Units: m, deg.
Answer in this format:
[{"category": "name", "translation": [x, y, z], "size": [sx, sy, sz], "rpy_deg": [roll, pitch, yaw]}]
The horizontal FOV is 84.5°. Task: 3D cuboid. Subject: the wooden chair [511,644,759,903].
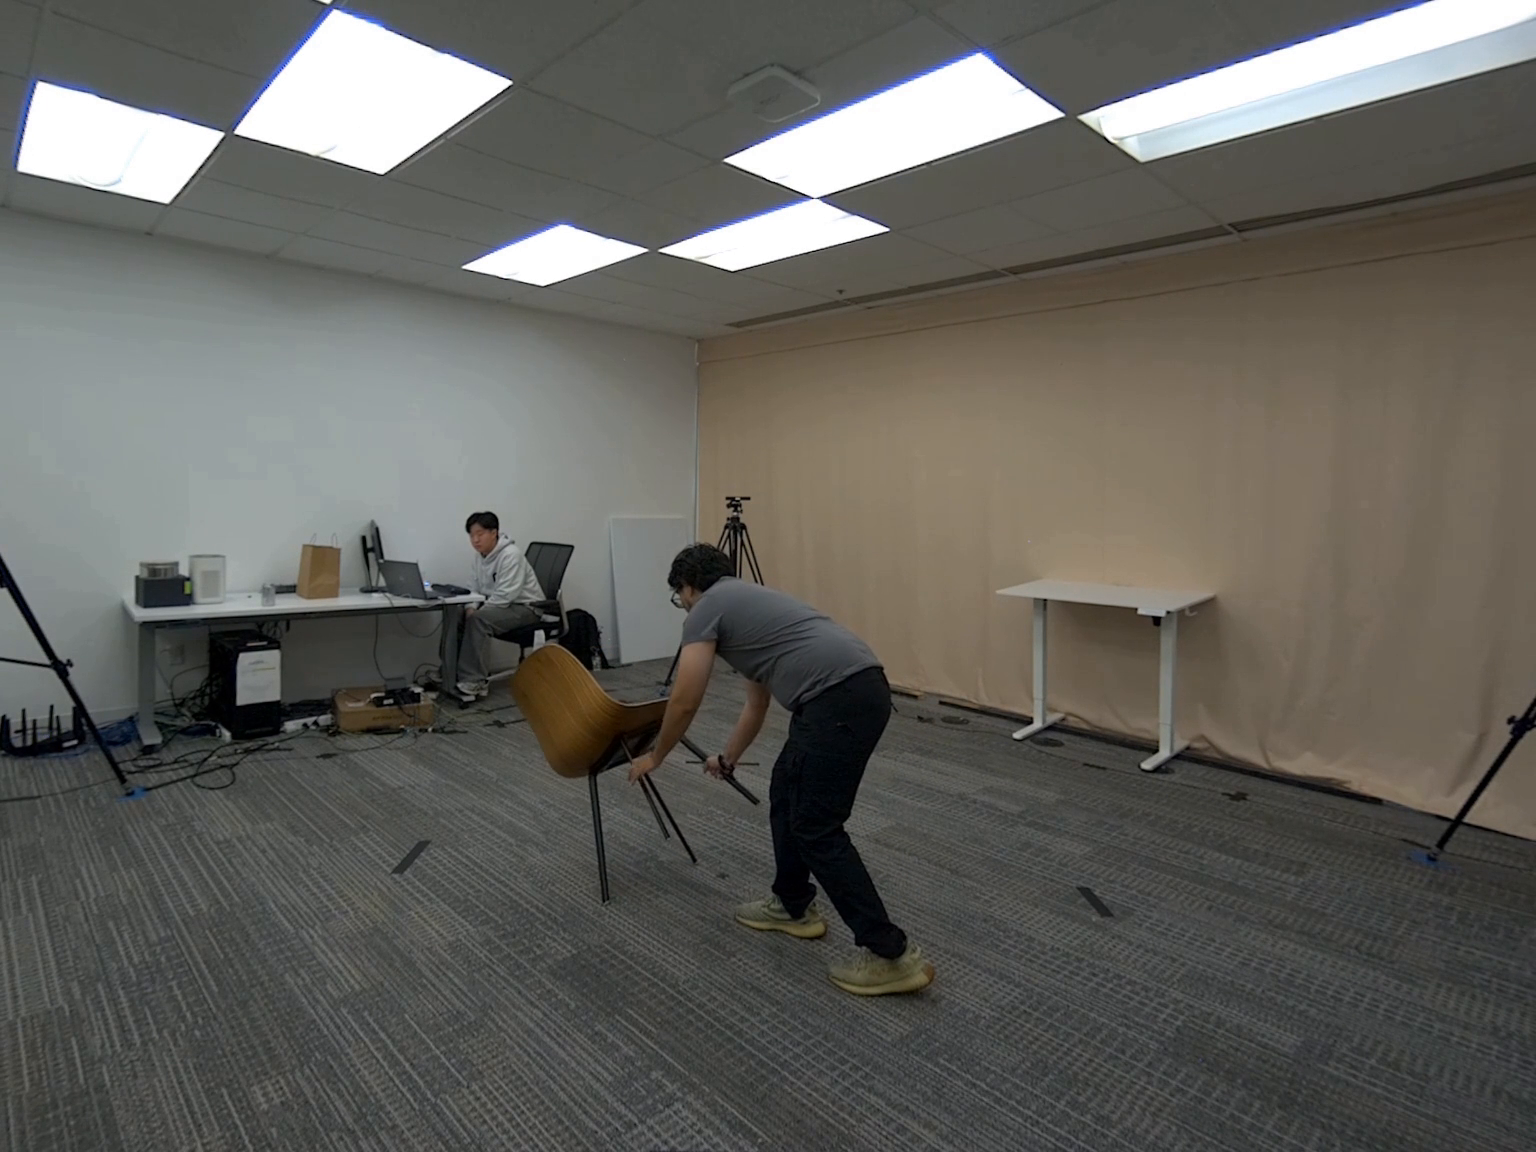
[{"category": "wooden chair", "translation": [-0.516, 0.643, 3.110], "size": [0.513, 0.477, 0.897], "rpy_deg": [-9, 54, -51]}]
